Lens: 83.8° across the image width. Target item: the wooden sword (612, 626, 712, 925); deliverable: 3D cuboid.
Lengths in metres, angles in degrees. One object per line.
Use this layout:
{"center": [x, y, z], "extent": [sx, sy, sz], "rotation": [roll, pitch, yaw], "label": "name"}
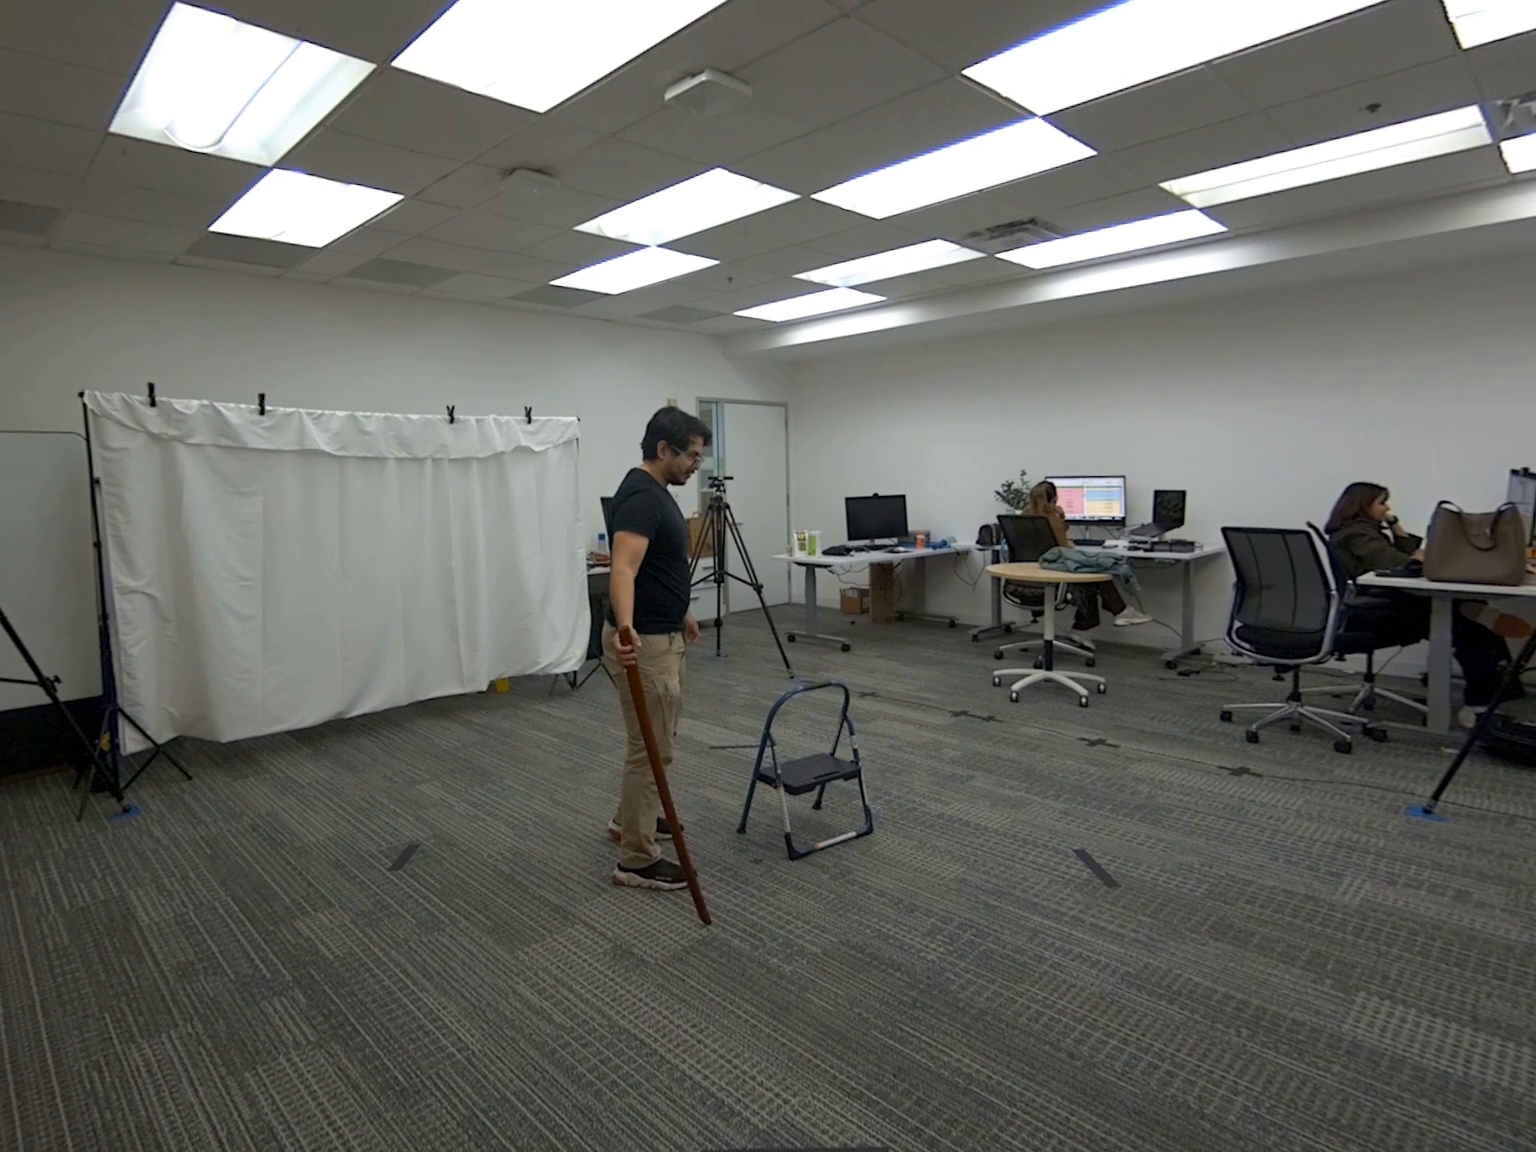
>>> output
{"center": [-0.305, 0.636, 2.536], "extent": [0.025, 1.004, 0.051], "rotation": [1, 25, 43], "label": "wooden sword"}
